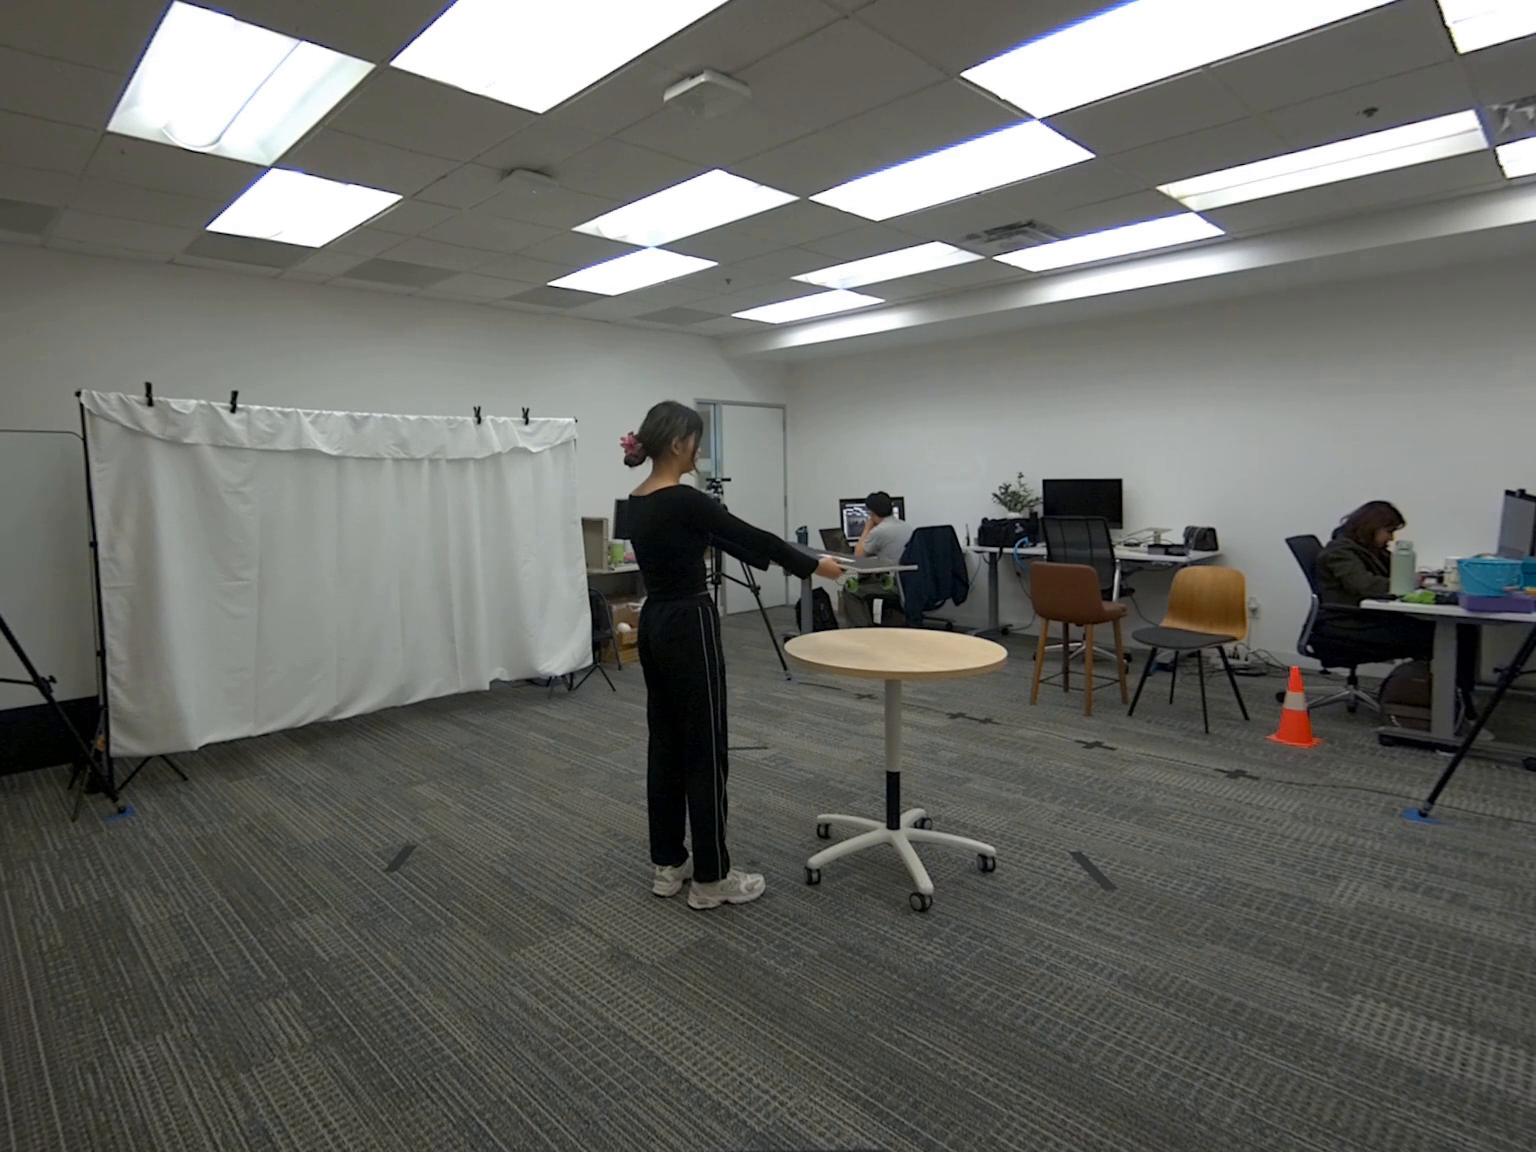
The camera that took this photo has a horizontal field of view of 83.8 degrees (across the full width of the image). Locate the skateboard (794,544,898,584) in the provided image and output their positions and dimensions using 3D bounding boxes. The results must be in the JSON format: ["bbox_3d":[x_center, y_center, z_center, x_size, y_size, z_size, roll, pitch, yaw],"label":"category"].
[{"bbox_3d":[0.240,-0.027,3.131,0.189,0.109,0.809,-5,10,-30],"label":"skateboard"}]
